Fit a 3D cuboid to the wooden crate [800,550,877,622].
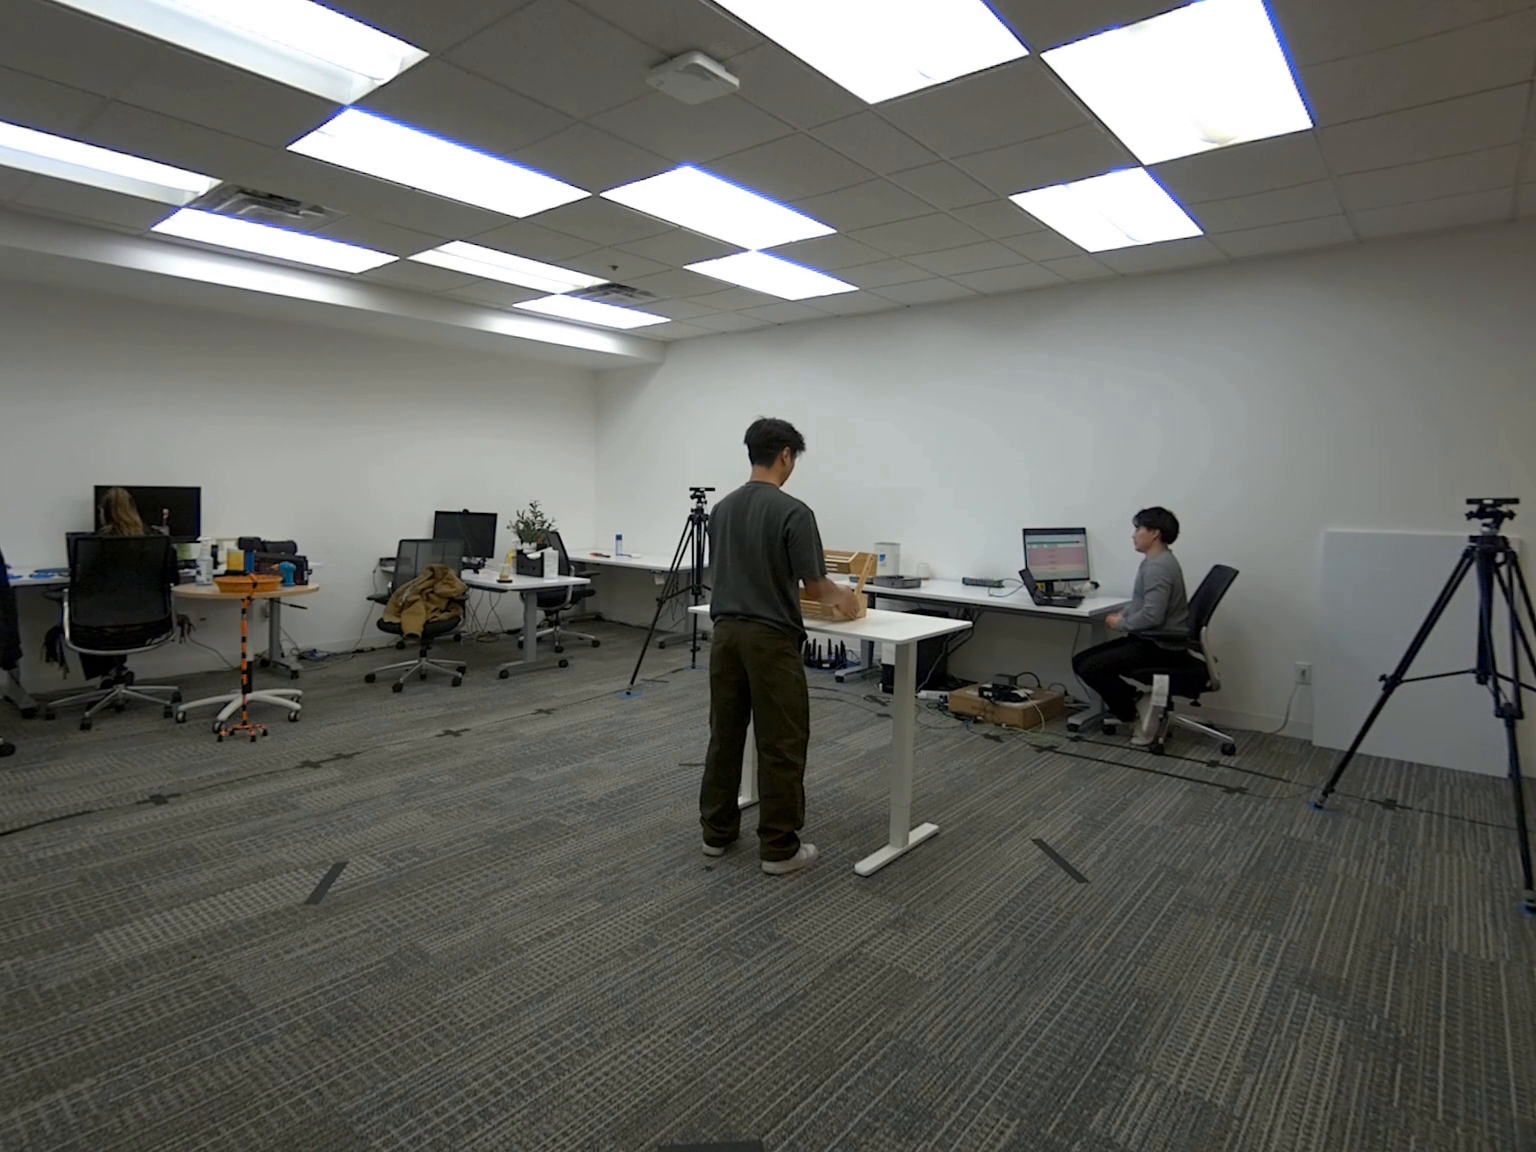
[{"bbox_3d":[0.225,0.016,3.488,0.335,0.273,0.292,6,1,39],"label":"wooden crate"}]
